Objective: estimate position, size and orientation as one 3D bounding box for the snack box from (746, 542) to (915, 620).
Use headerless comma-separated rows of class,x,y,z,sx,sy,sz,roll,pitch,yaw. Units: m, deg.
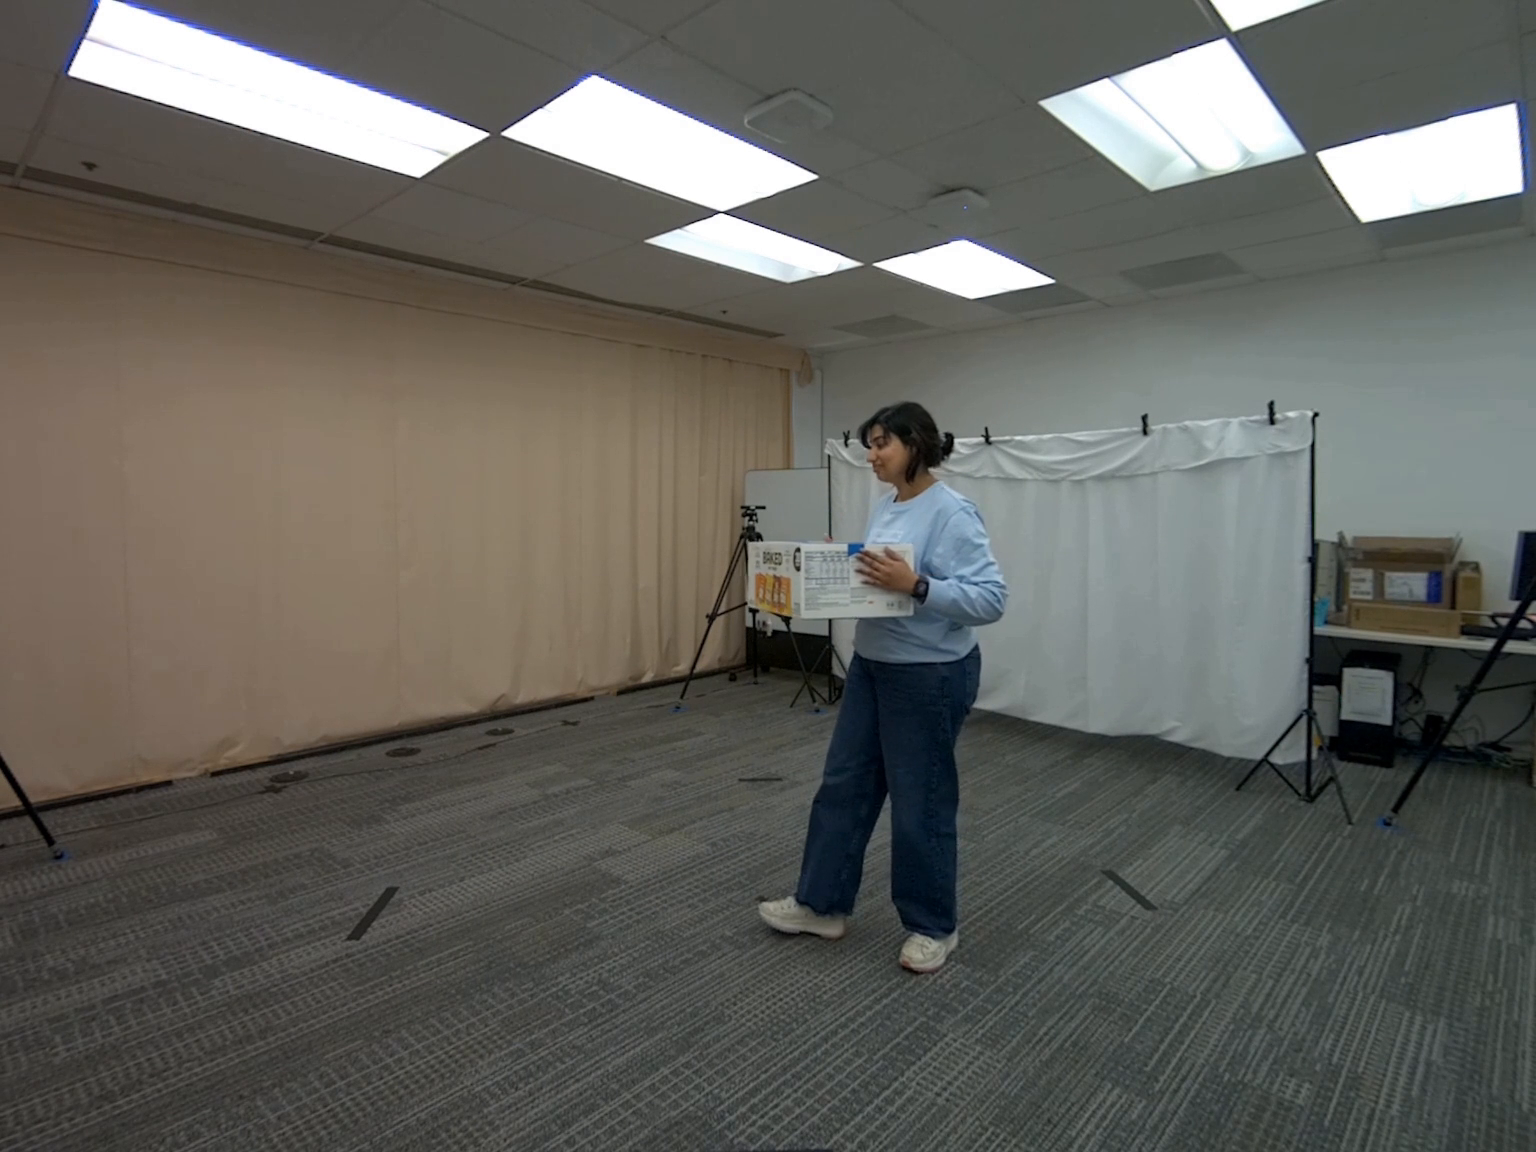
snack box,0.173,0.009,2.446,0.334,0.205,0.413,-1,3,-19
